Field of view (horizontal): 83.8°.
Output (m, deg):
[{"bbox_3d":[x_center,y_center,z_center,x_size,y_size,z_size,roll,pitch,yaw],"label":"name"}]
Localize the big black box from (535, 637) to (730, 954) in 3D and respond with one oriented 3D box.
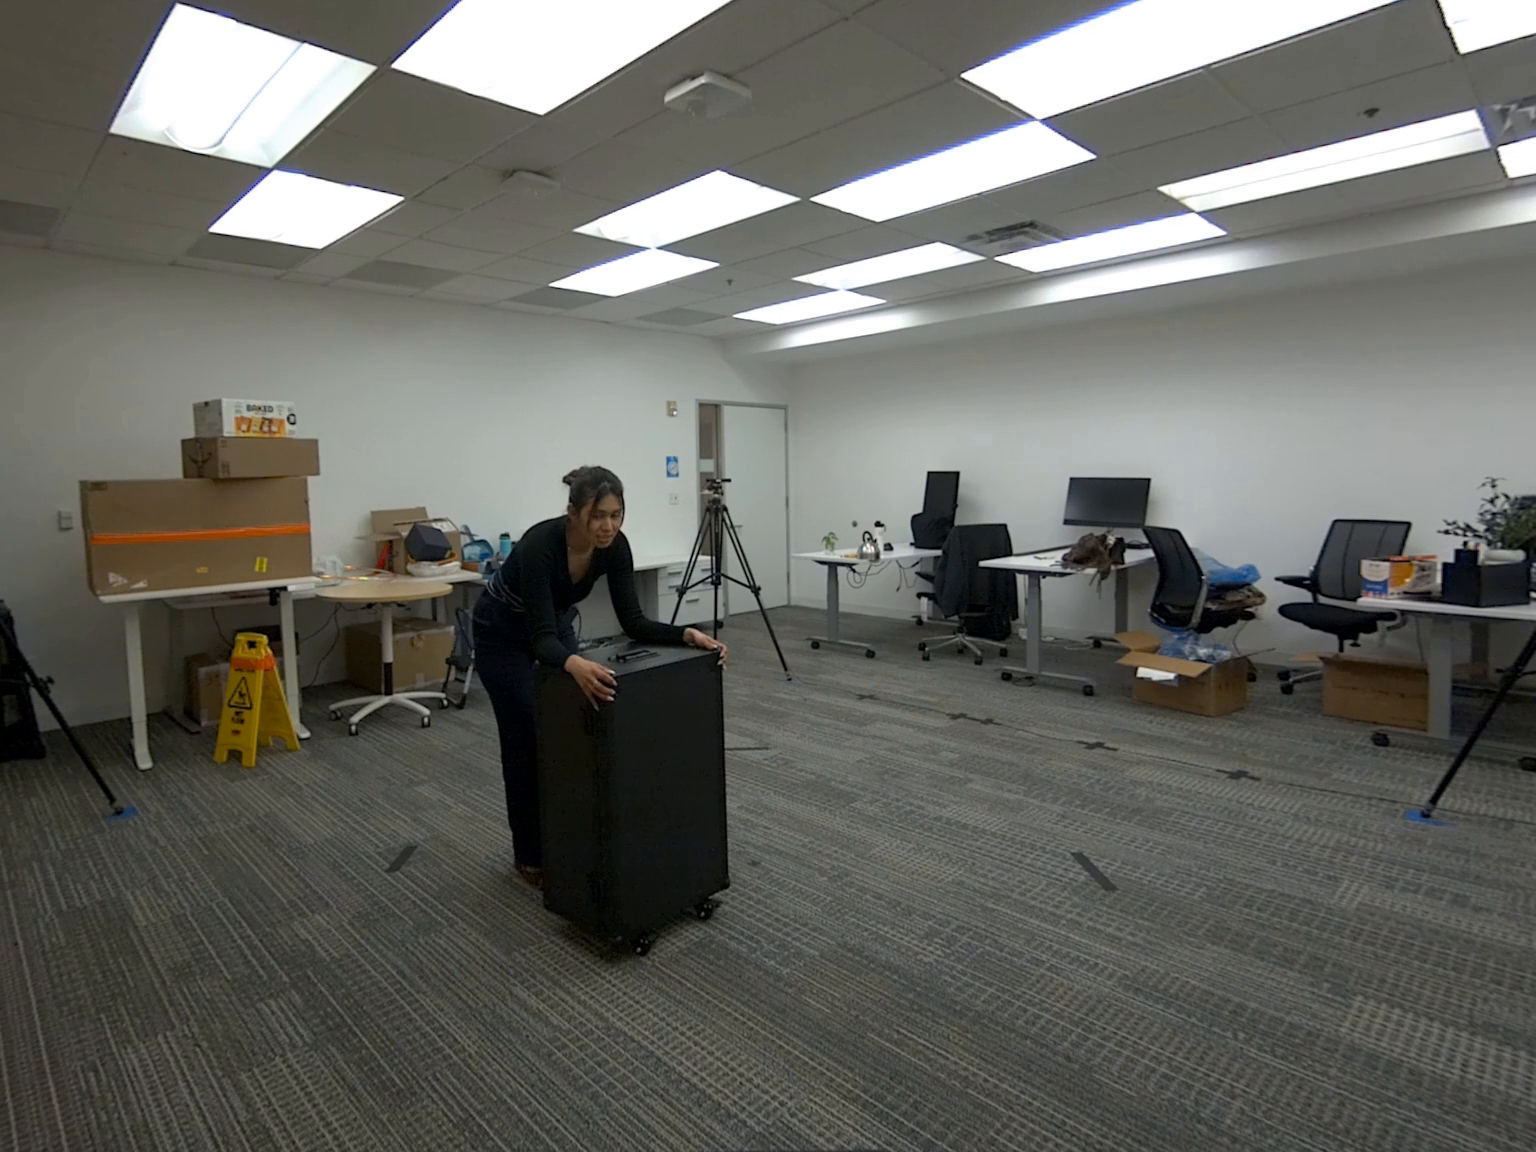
[{"bbox_3d":[-0.432,0.675,2.702,0.408,0.859,0.508,0,4,42],"label":"big black box"}]
